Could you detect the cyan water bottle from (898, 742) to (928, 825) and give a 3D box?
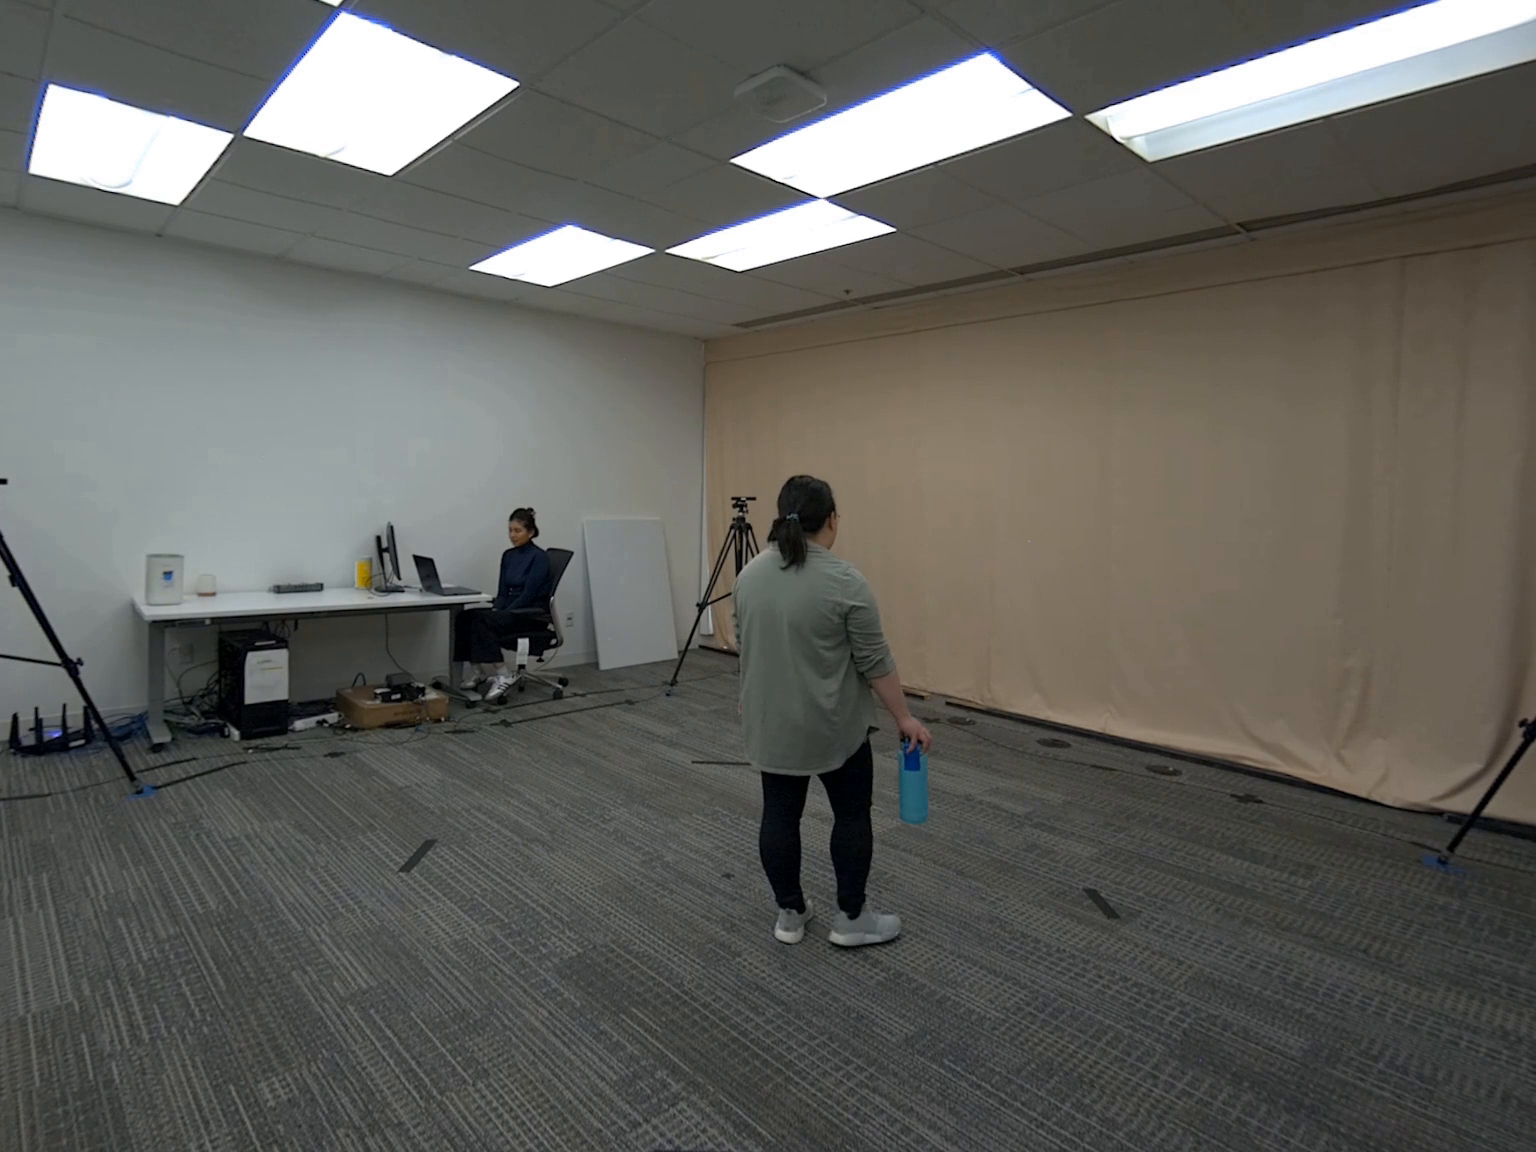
[{"bbox_3d":[0.443,0.621,2.599,0.092,0.282,0.093,-1,7,-1],"label":"cyan water bottle"}]
